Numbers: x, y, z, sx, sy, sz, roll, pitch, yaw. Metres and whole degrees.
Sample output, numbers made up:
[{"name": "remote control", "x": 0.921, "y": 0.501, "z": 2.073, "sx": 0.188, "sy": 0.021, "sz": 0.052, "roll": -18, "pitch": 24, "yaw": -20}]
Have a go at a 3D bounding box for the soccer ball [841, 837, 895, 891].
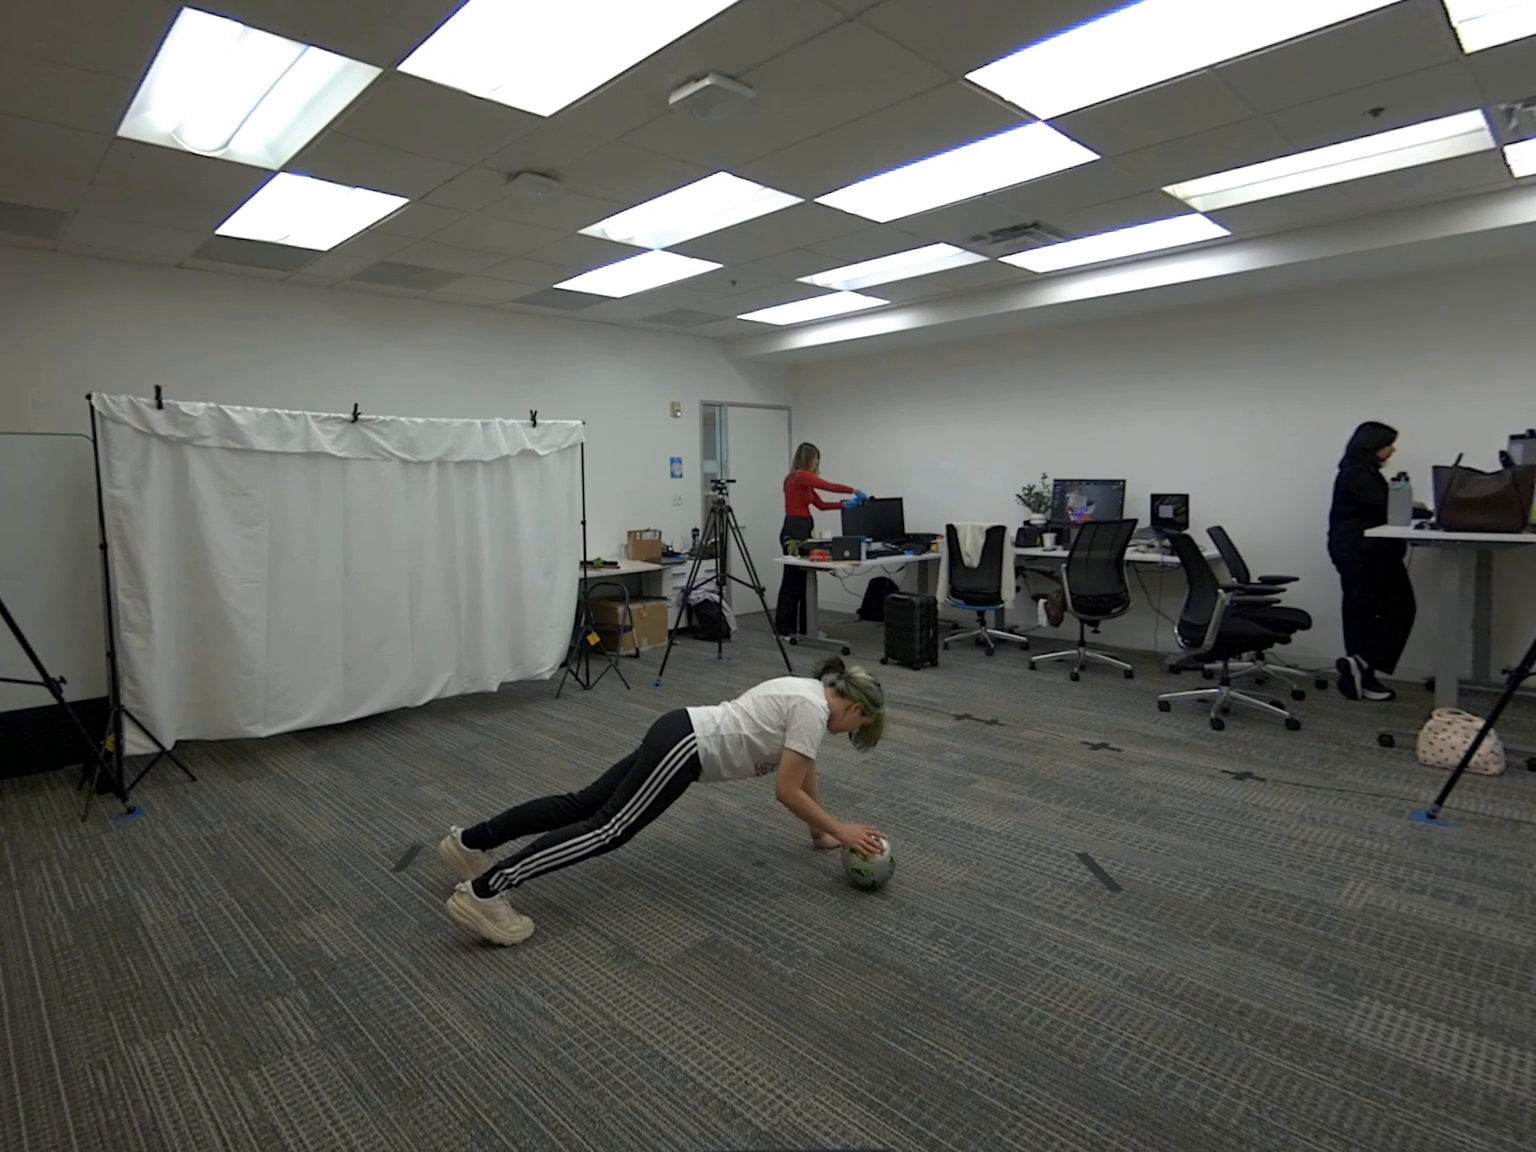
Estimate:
[{"name": "soccer ball", "x": 0.344, "y": 0.963, "z": 2.931, "sx": 0.187, "sy": 0.187, "sz": 0.188, "roll": -1, "pitch": 5, "yaw": -2}]
